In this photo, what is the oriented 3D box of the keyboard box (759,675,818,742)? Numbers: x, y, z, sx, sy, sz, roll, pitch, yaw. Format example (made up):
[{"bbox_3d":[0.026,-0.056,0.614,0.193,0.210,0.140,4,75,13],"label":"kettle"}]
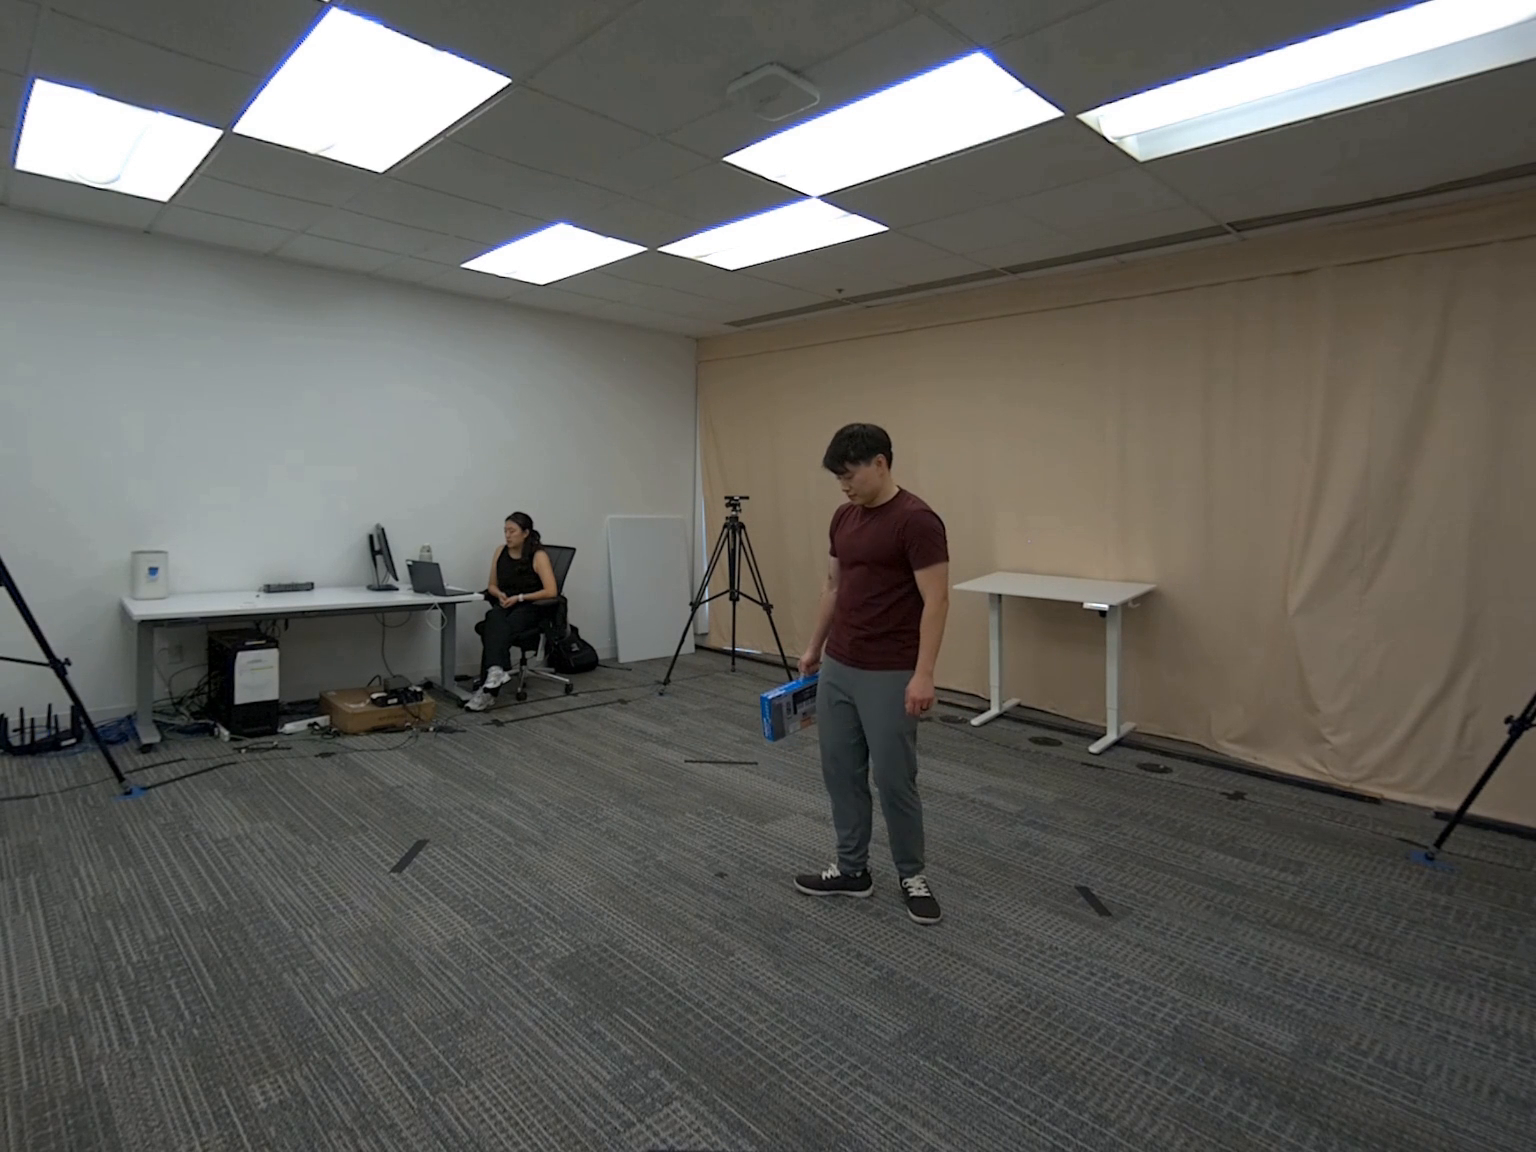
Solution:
[{"bbox_3d":[0.158,0.465,3.159,0.430,0.174,0.061,-17,17,-34],"label":"keyboard box"}]
